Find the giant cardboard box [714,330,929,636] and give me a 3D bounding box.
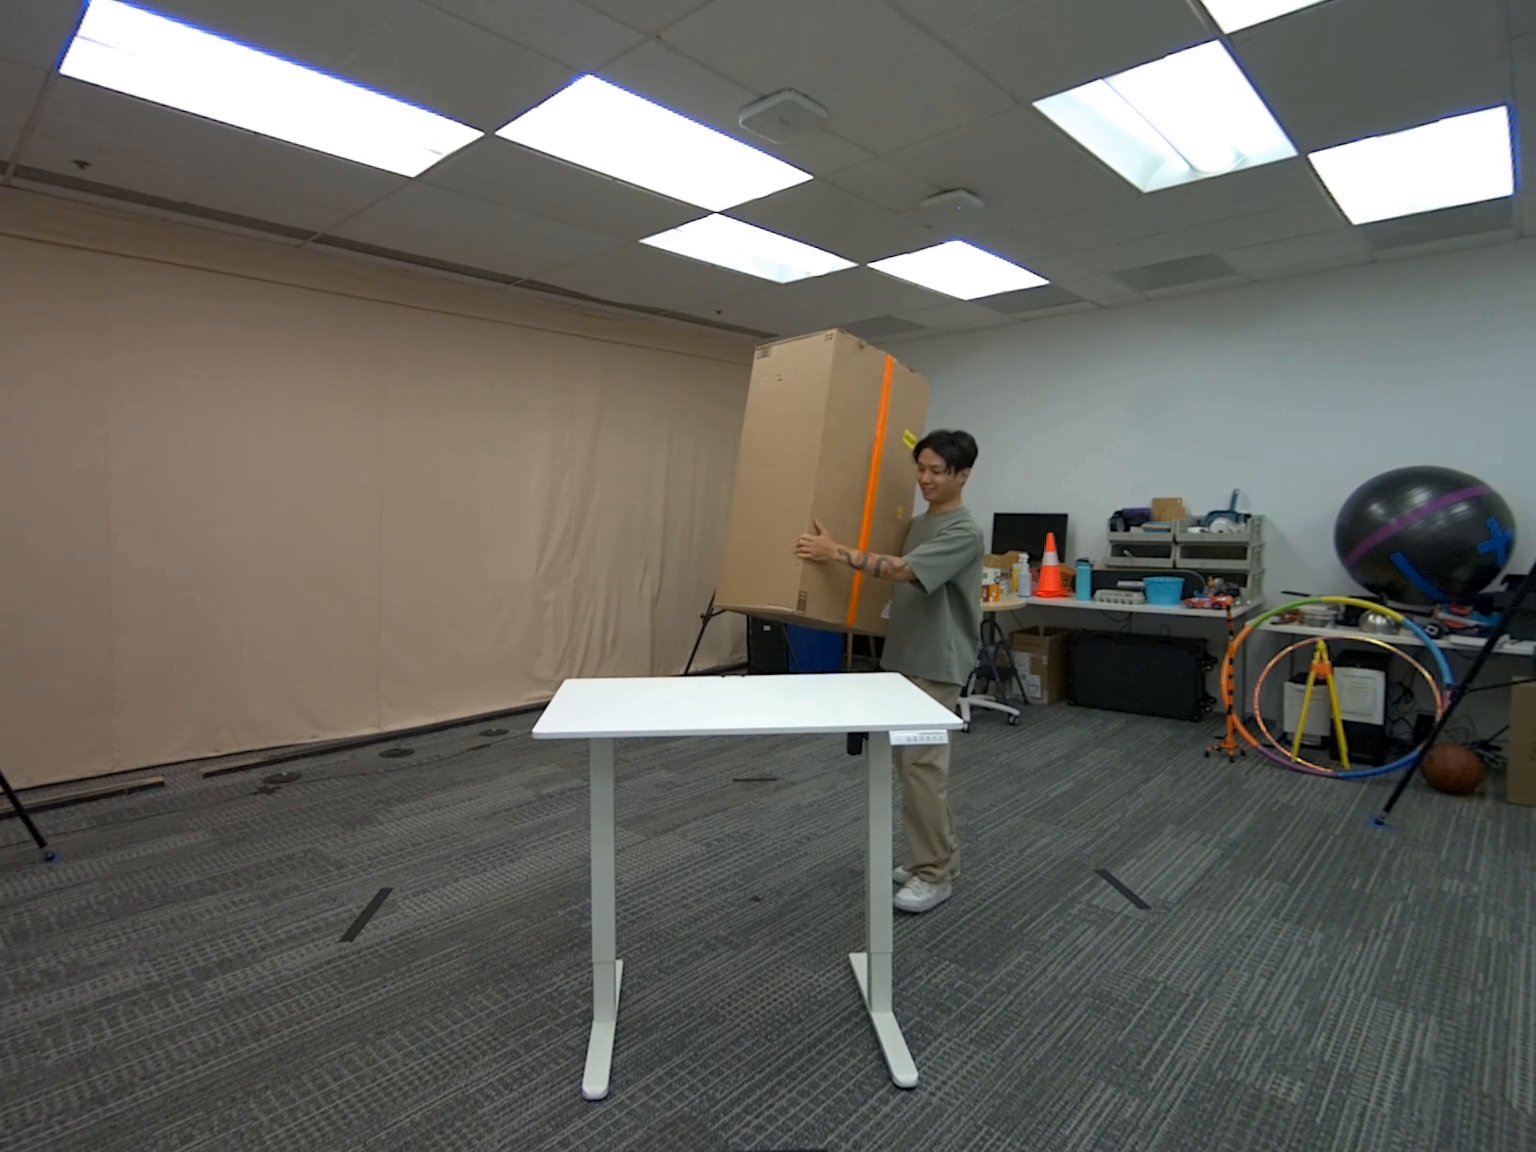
[{"bbox_3d":[0.223,-0.321,3.216,0.557,1.029,0.440,16,-10,-43],"label":"giant cardboard box"}]
